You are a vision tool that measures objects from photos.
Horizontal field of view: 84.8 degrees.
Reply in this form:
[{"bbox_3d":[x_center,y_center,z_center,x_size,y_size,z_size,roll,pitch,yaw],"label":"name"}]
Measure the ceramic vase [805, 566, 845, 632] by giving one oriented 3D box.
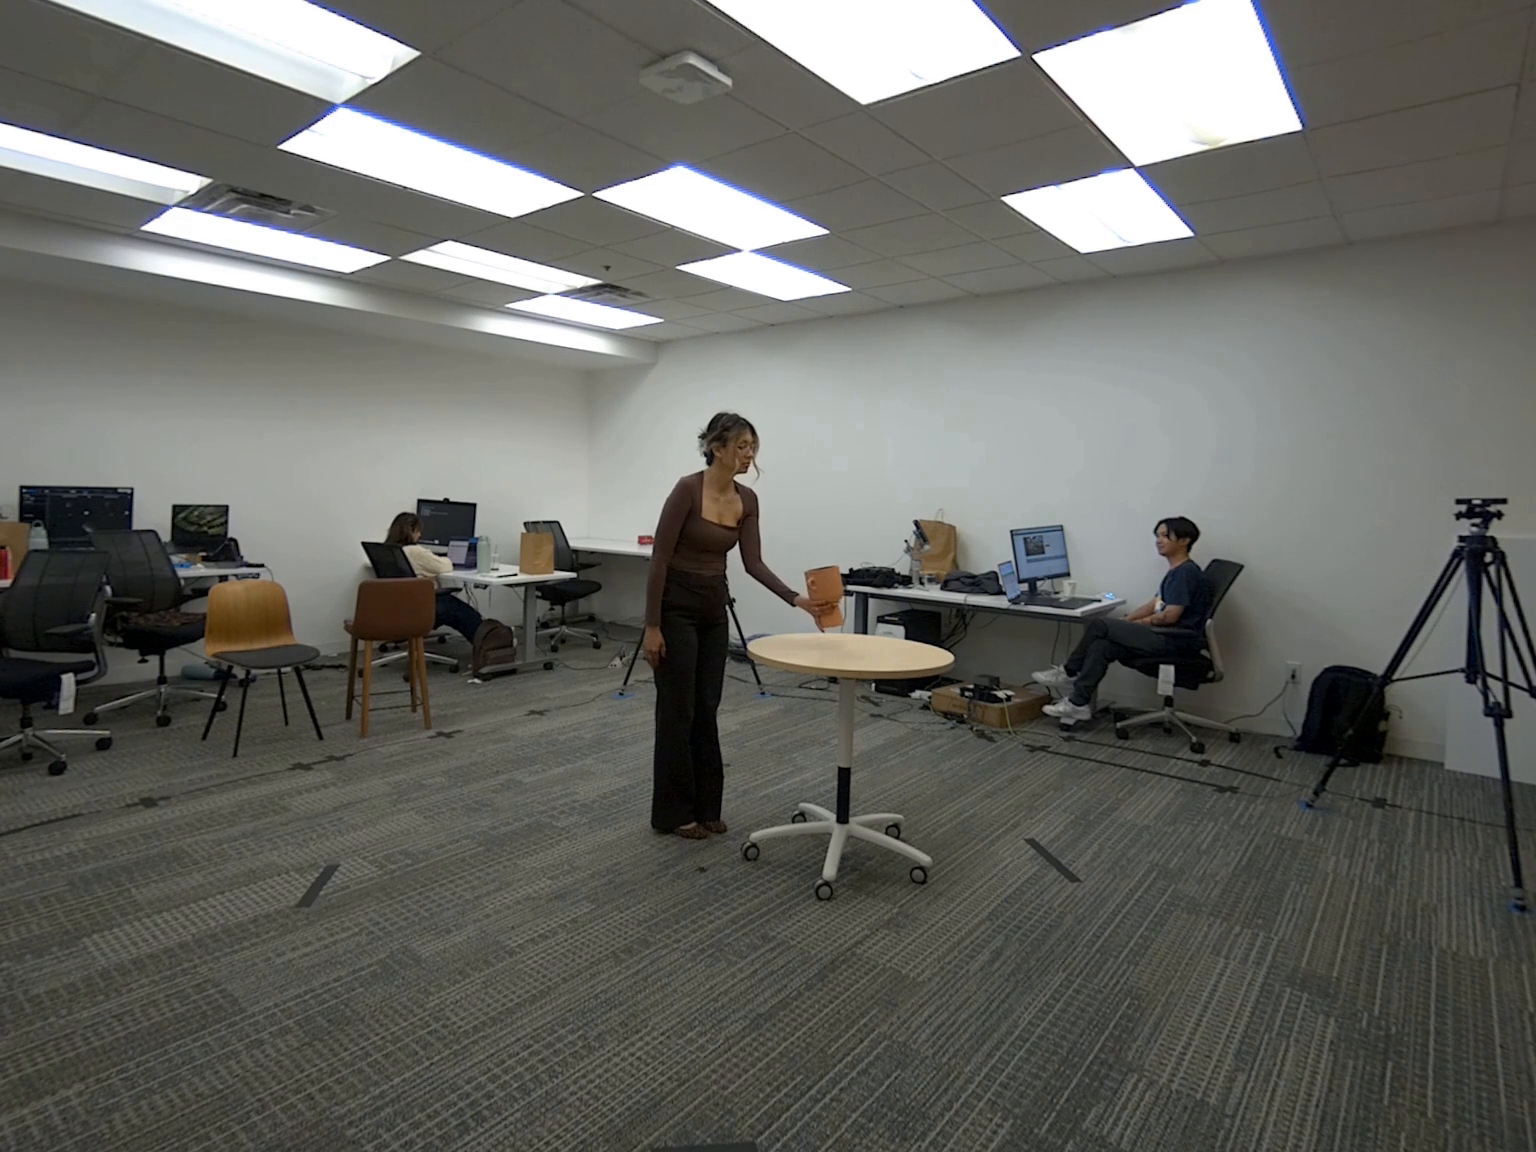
[{"bbox_3d":[0.212,0.075,3.243,0.157,0.221,0.135,-9,-3,-9],"label":"ceramic vase"}]
